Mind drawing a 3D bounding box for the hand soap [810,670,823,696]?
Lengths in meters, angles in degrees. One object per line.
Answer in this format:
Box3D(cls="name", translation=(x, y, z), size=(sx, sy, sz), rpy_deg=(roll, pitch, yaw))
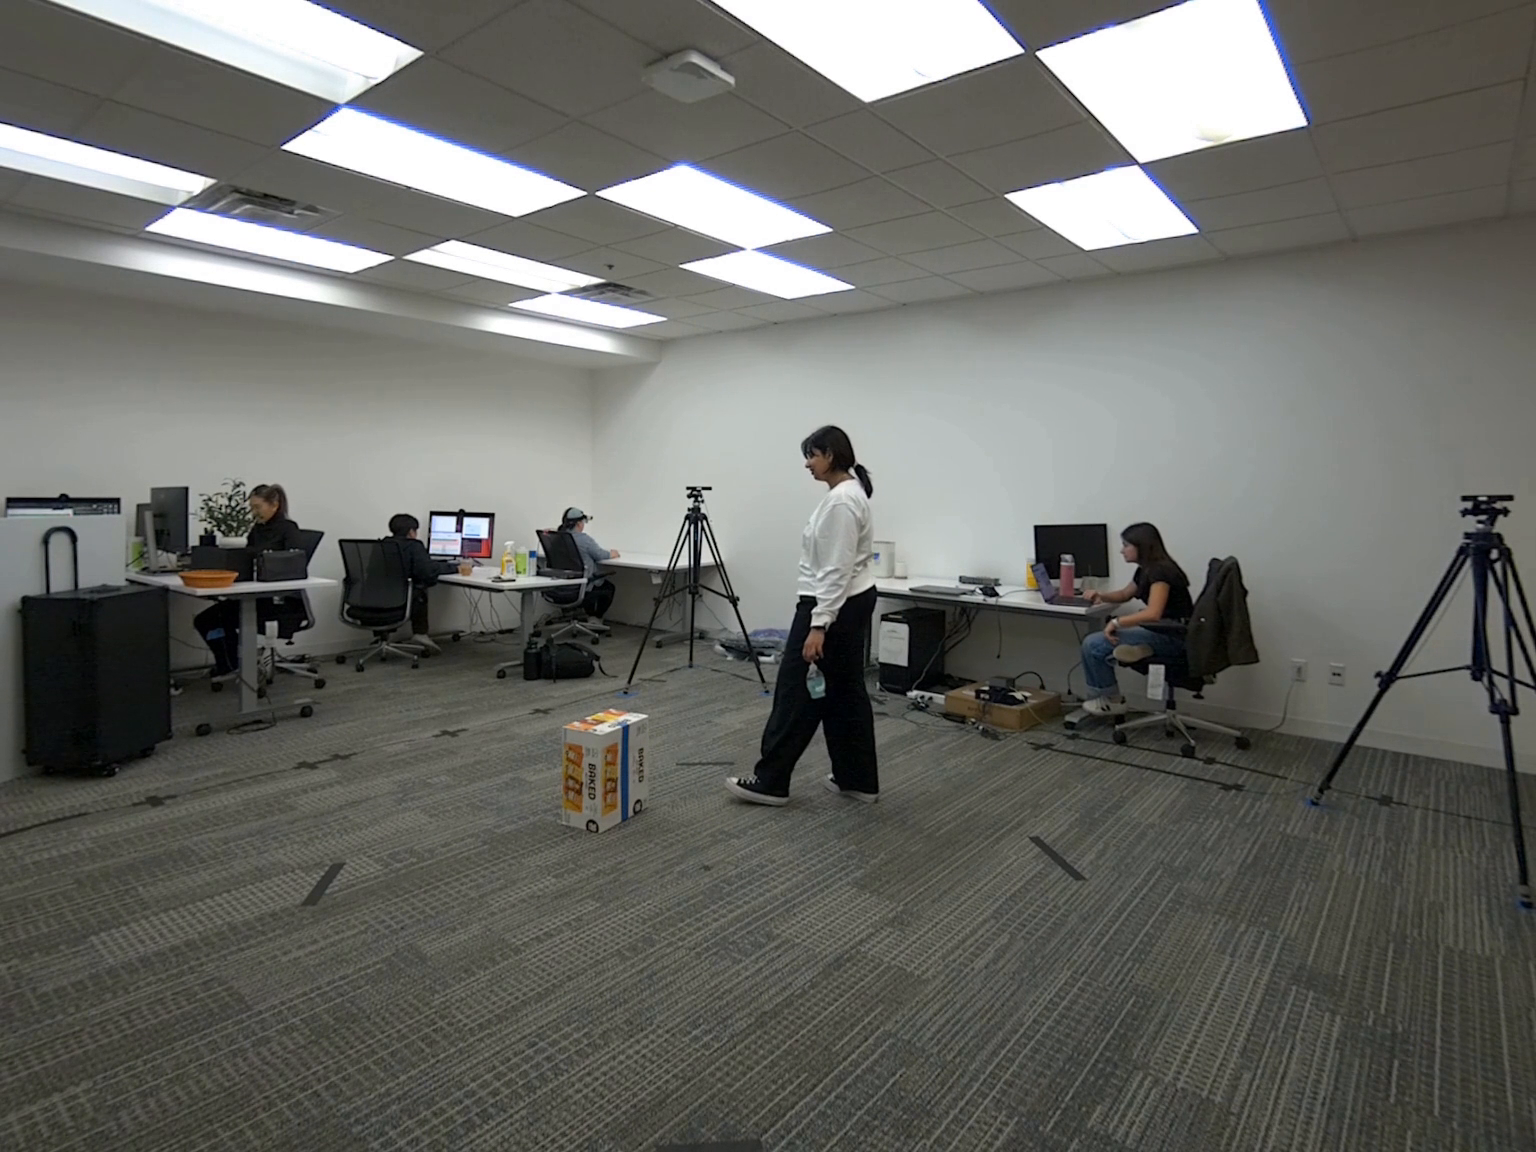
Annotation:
Box3D(cls="hand soap", translation=(0.204, 0.413, 3.527), size=(0.082, 0.168, 0.044), rpy_deg=(-10, -3, -42))
